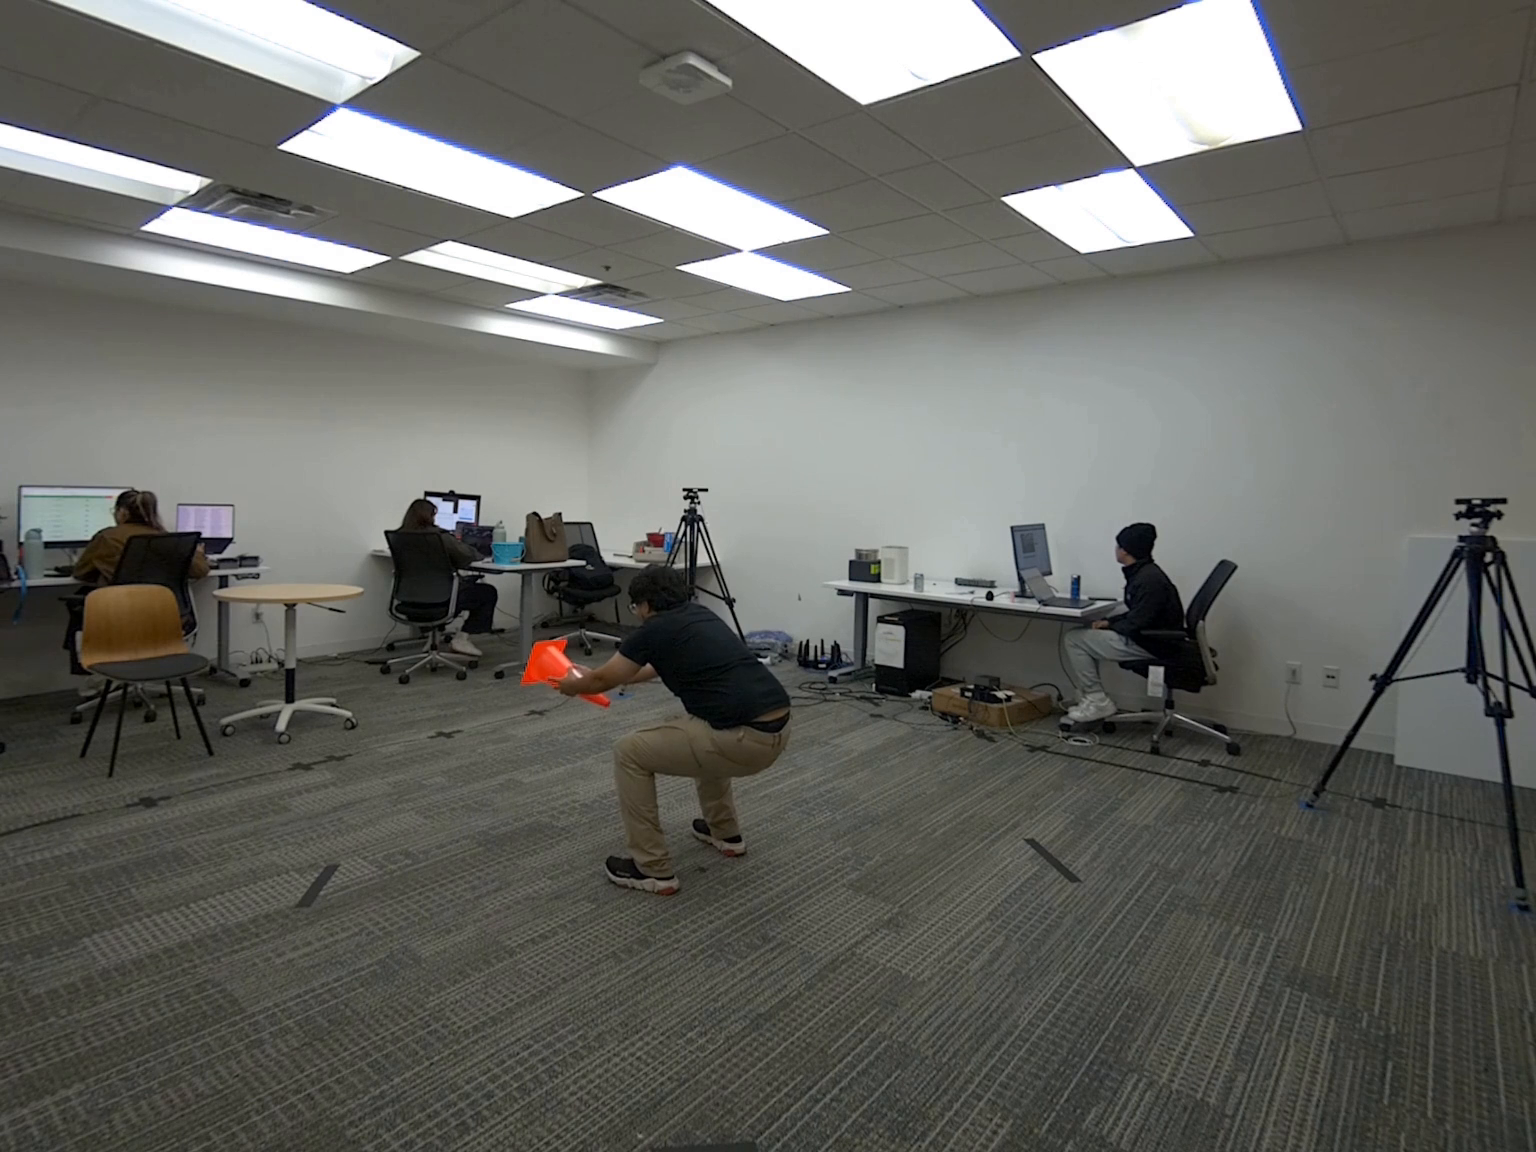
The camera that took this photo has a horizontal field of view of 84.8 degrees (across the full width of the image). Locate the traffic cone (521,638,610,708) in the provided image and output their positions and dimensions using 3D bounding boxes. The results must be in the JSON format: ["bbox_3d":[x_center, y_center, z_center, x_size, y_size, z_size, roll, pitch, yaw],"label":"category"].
[{"bbox_3d":[-0.819,0.435,3.524,0.397,0.202,0.199,26,12,28],"label":"traffic cone"}]
